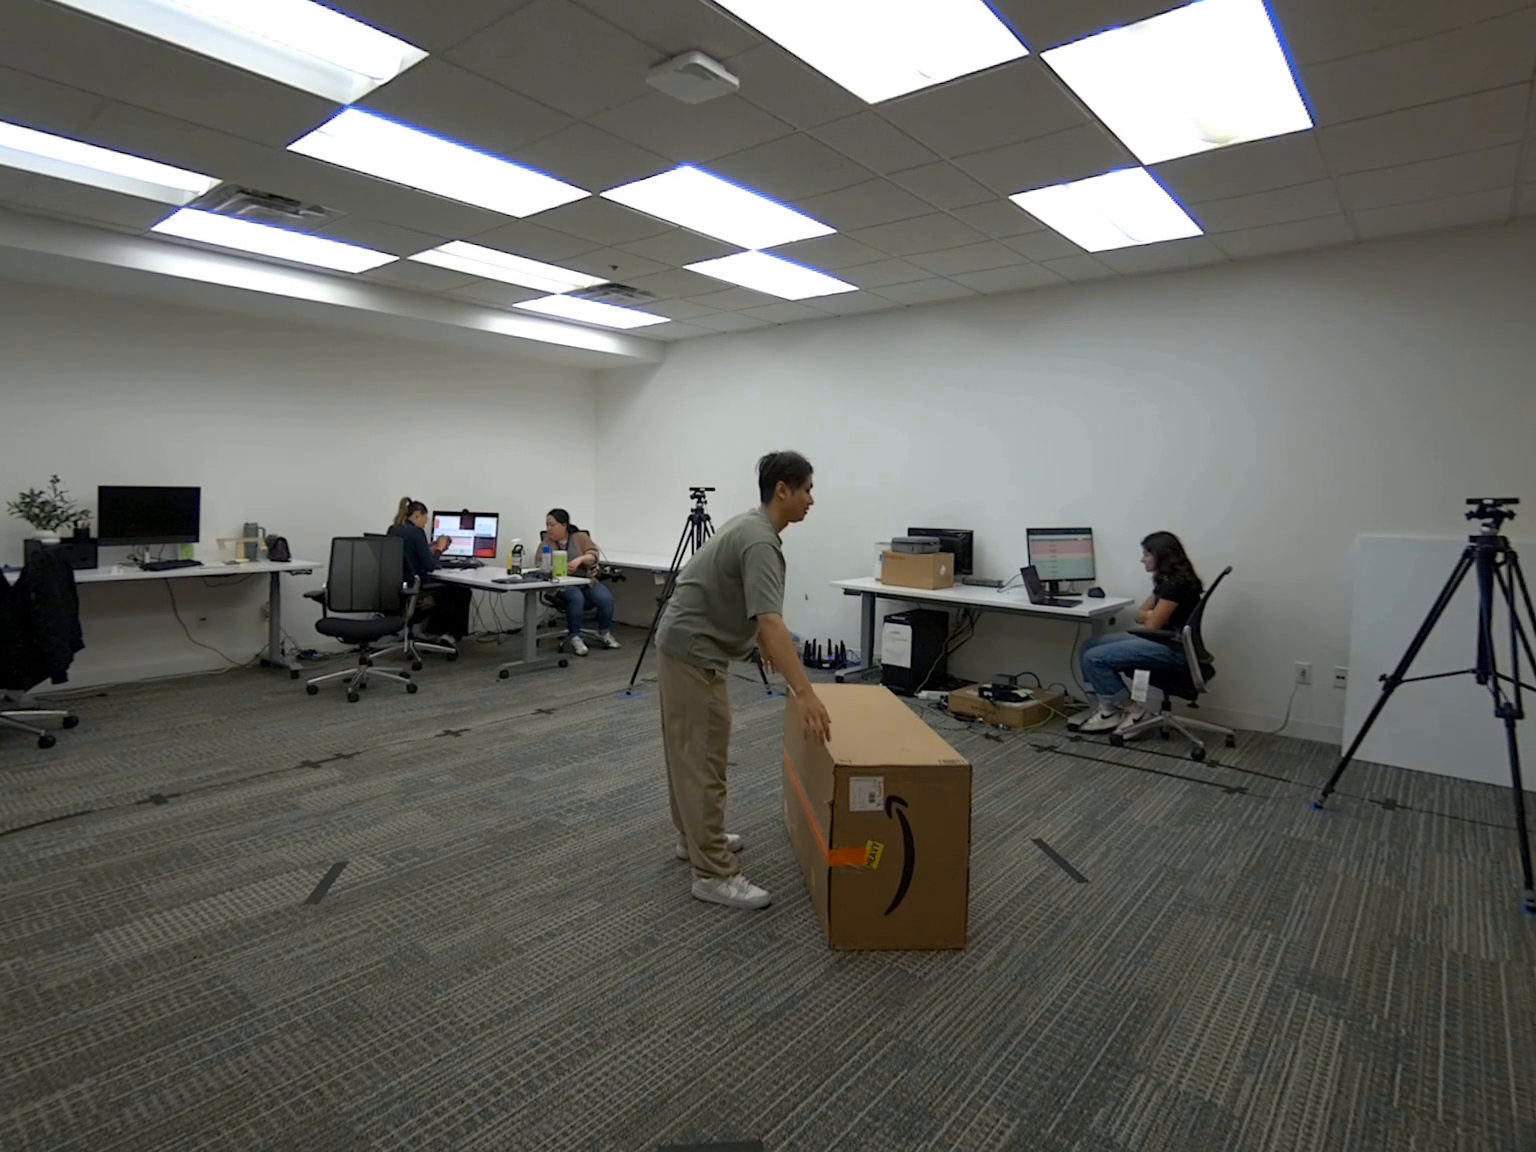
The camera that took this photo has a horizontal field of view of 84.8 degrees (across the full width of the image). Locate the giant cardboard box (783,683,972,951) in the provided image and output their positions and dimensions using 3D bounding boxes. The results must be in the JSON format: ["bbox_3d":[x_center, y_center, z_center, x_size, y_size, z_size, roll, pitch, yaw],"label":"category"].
[{"bbox_3d":[0.334,0.787,3.071,0.424,0.575,1.036,0,5,-7],"label":"giant cardboard box"}]
